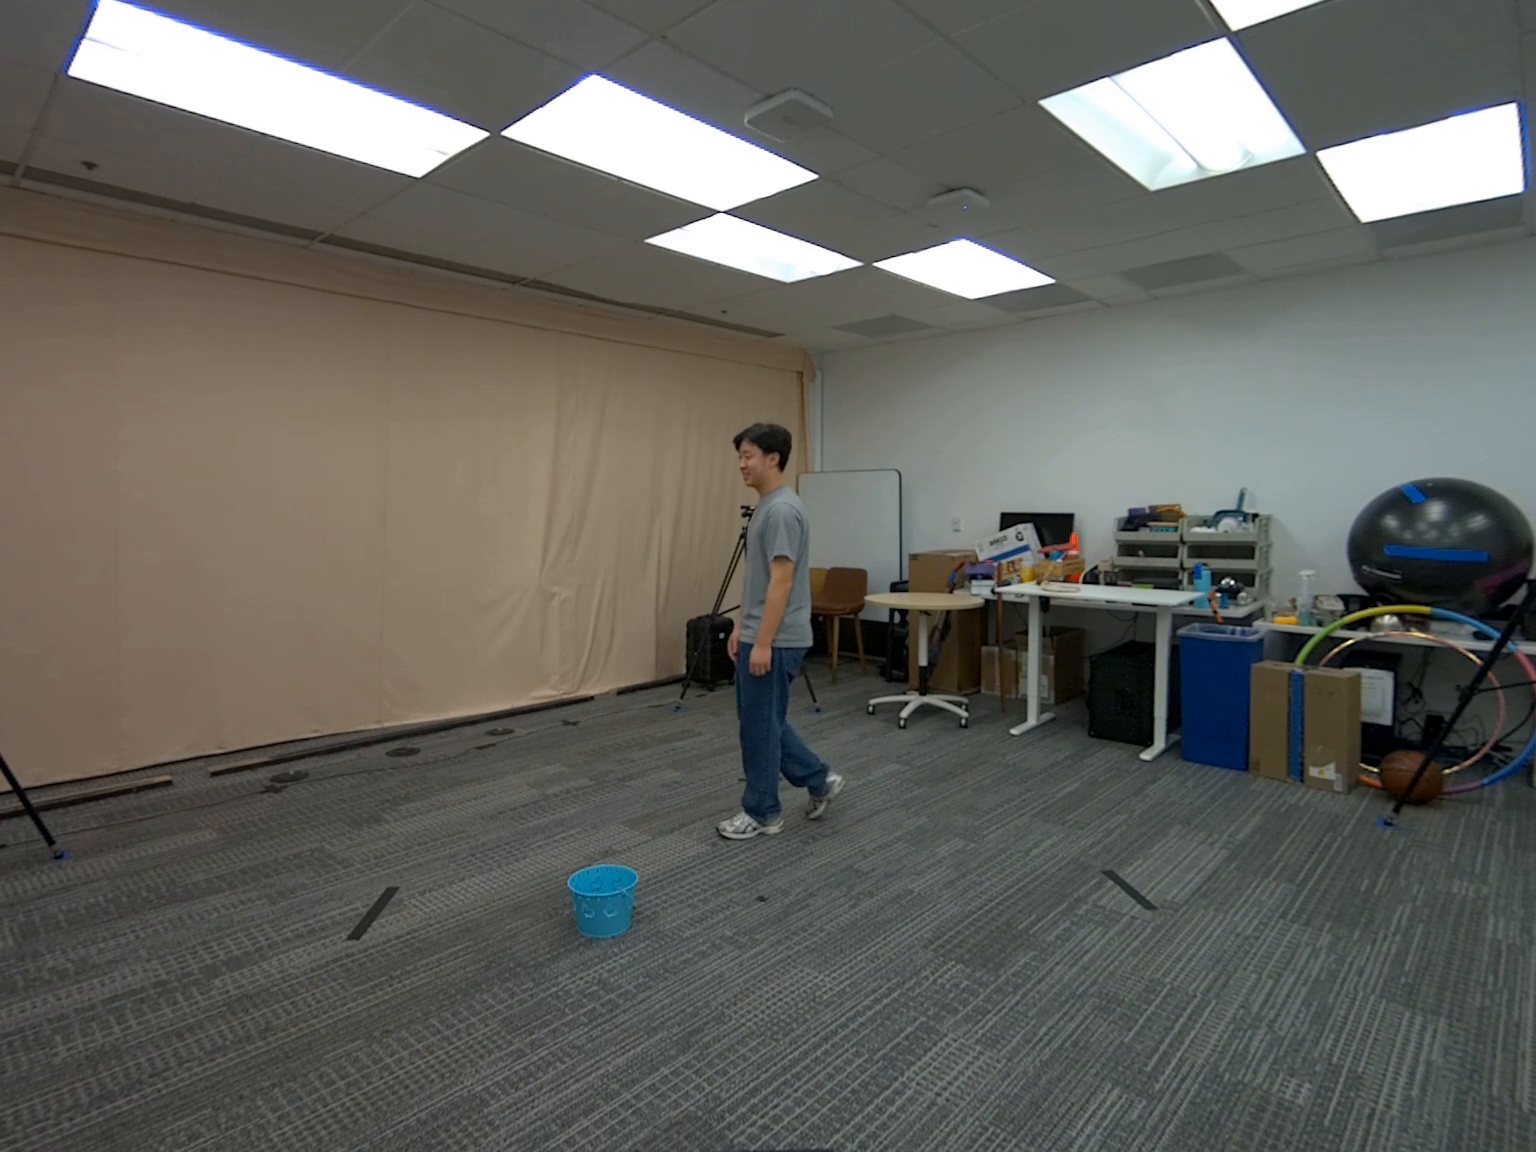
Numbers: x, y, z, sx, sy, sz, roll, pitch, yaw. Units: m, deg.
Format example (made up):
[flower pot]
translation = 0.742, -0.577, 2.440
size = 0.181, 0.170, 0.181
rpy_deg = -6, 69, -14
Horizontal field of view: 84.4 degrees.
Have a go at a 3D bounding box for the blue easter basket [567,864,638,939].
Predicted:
[blue easter basket]
translation = -0.540, 1.084, 2.804
size = 0.243, 0.155, 0.244
rpy_deg = 0, 4, -2
